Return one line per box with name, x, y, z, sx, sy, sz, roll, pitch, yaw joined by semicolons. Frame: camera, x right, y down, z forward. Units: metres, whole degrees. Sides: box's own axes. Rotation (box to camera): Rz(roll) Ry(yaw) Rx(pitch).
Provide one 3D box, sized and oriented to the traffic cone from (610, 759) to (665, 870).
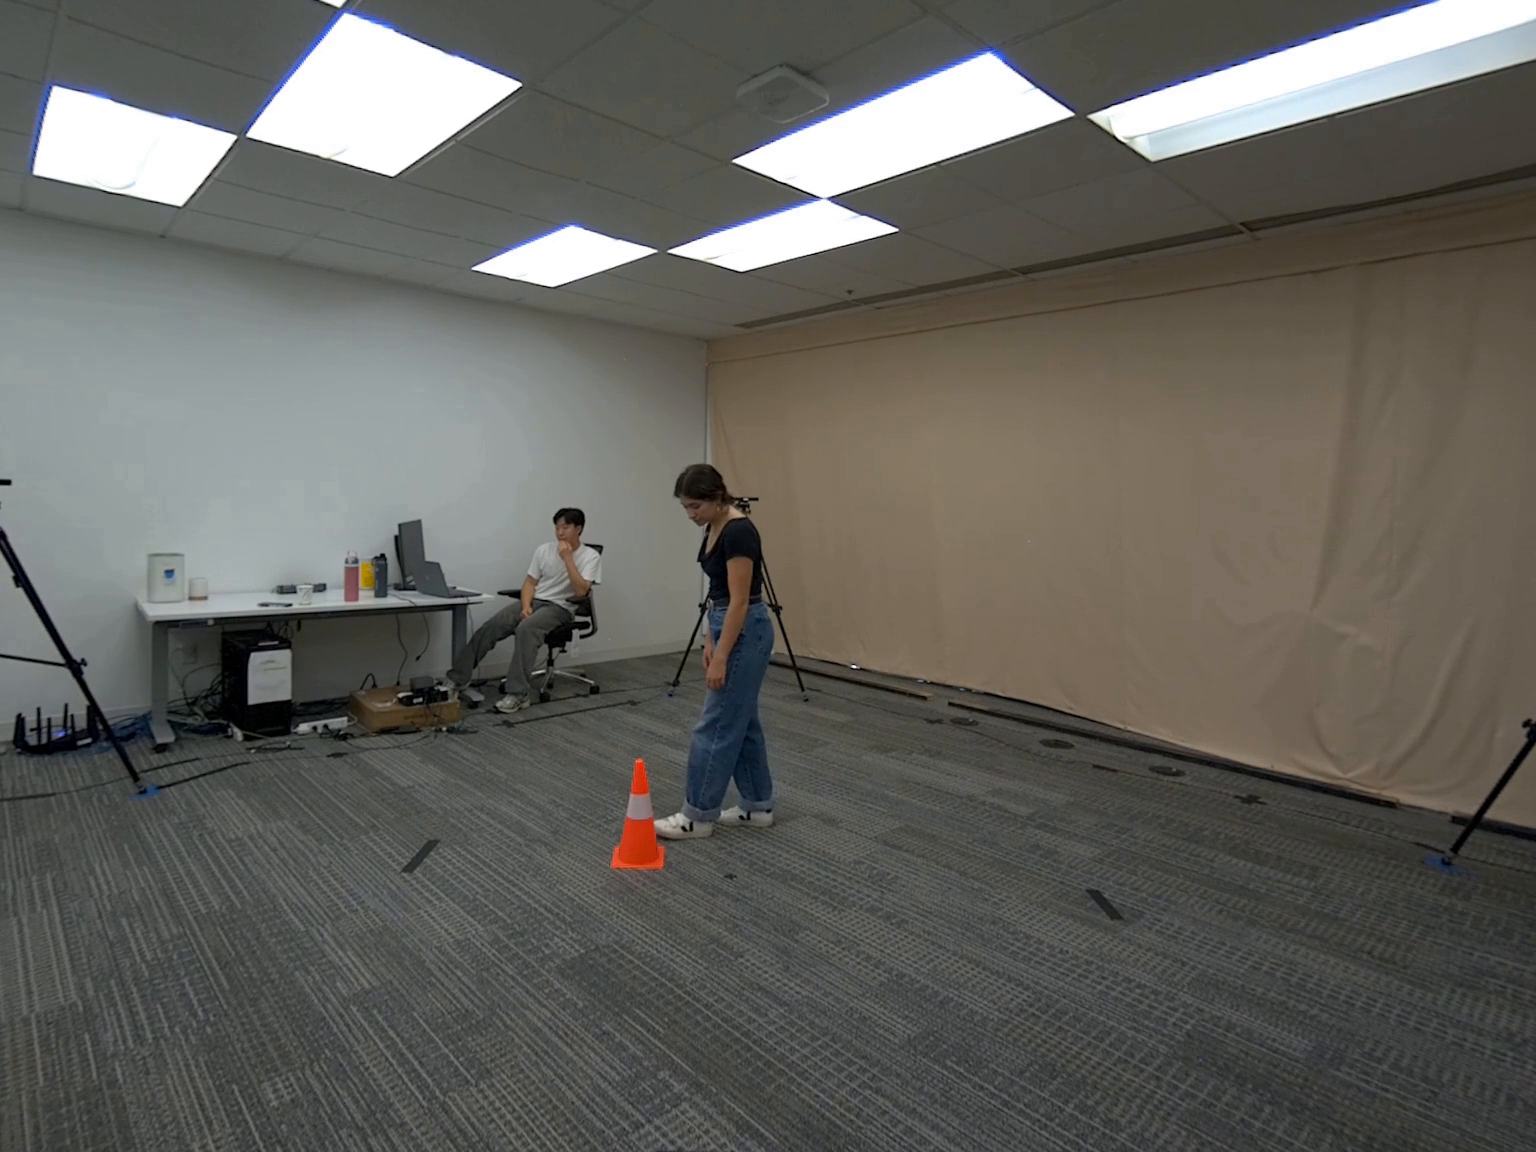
traffic cone;-0.500;0.905;3.238;0.204;0.382;0.204;3;4;-4
